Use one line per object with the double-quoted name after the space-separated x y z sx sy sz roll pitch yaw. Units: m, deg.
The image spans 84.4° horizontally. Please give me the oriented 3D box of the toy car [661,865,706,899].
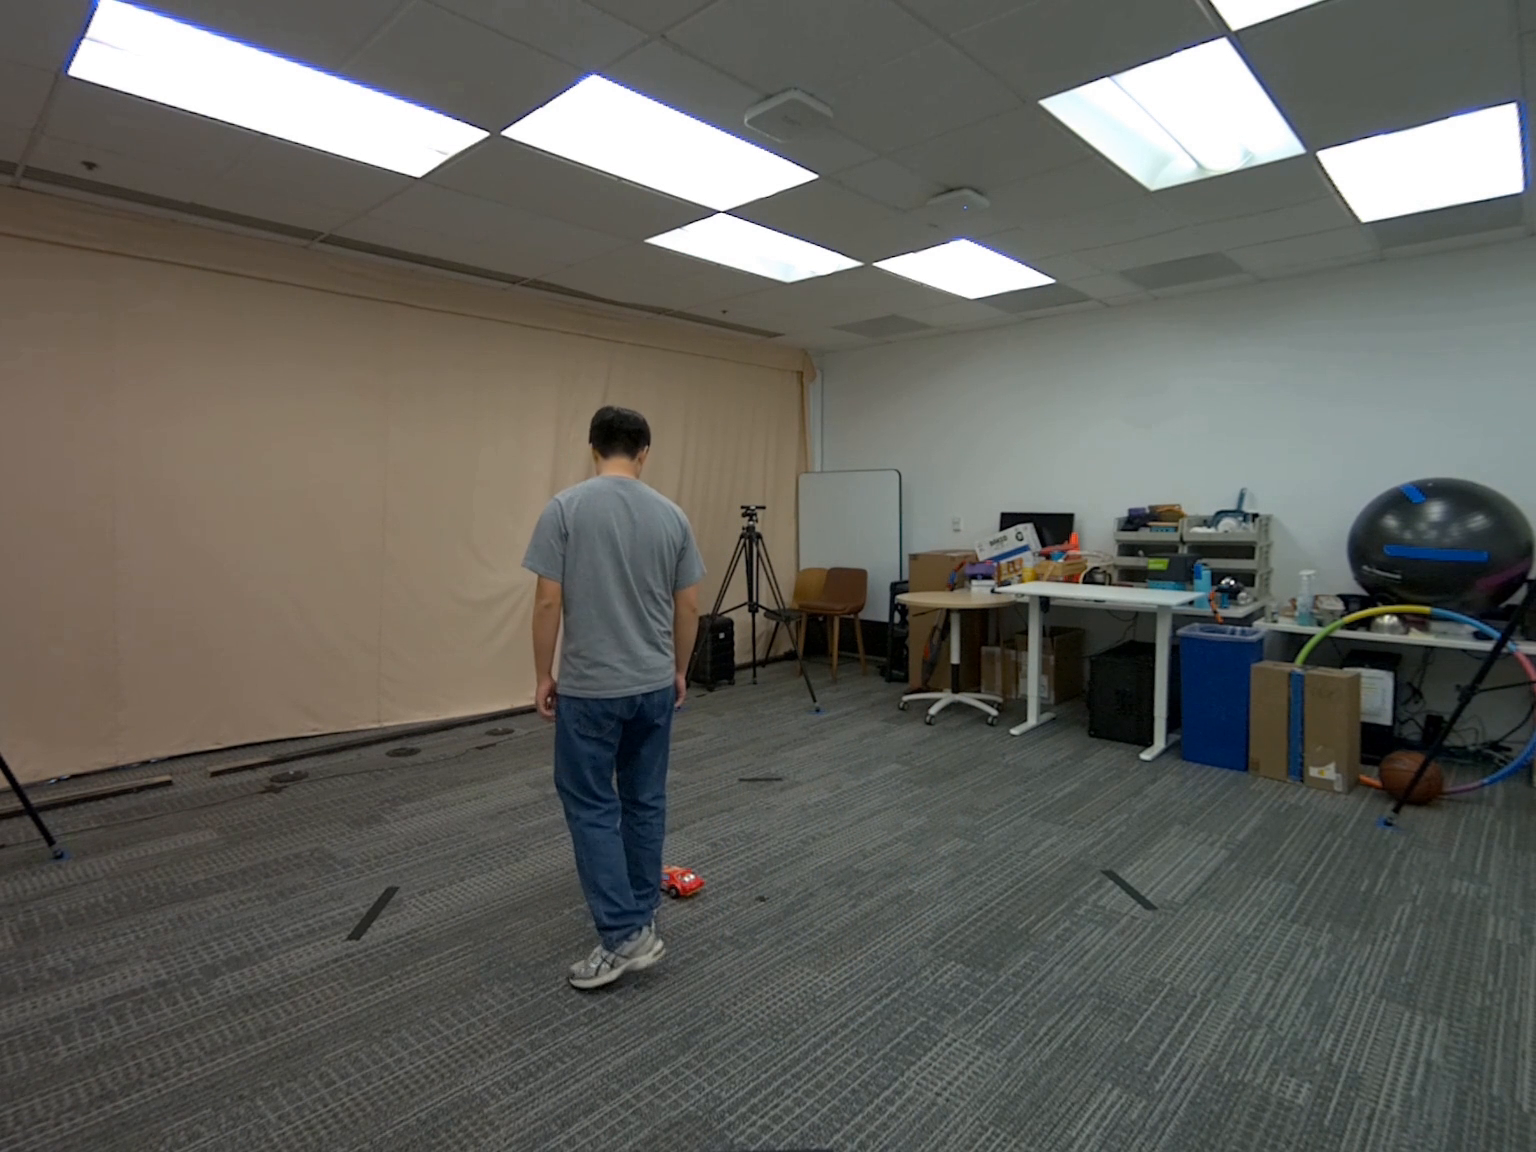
-0.340 1.109 3.052 0.261 0.083 0.126 -11 -4 39 "toy car"
